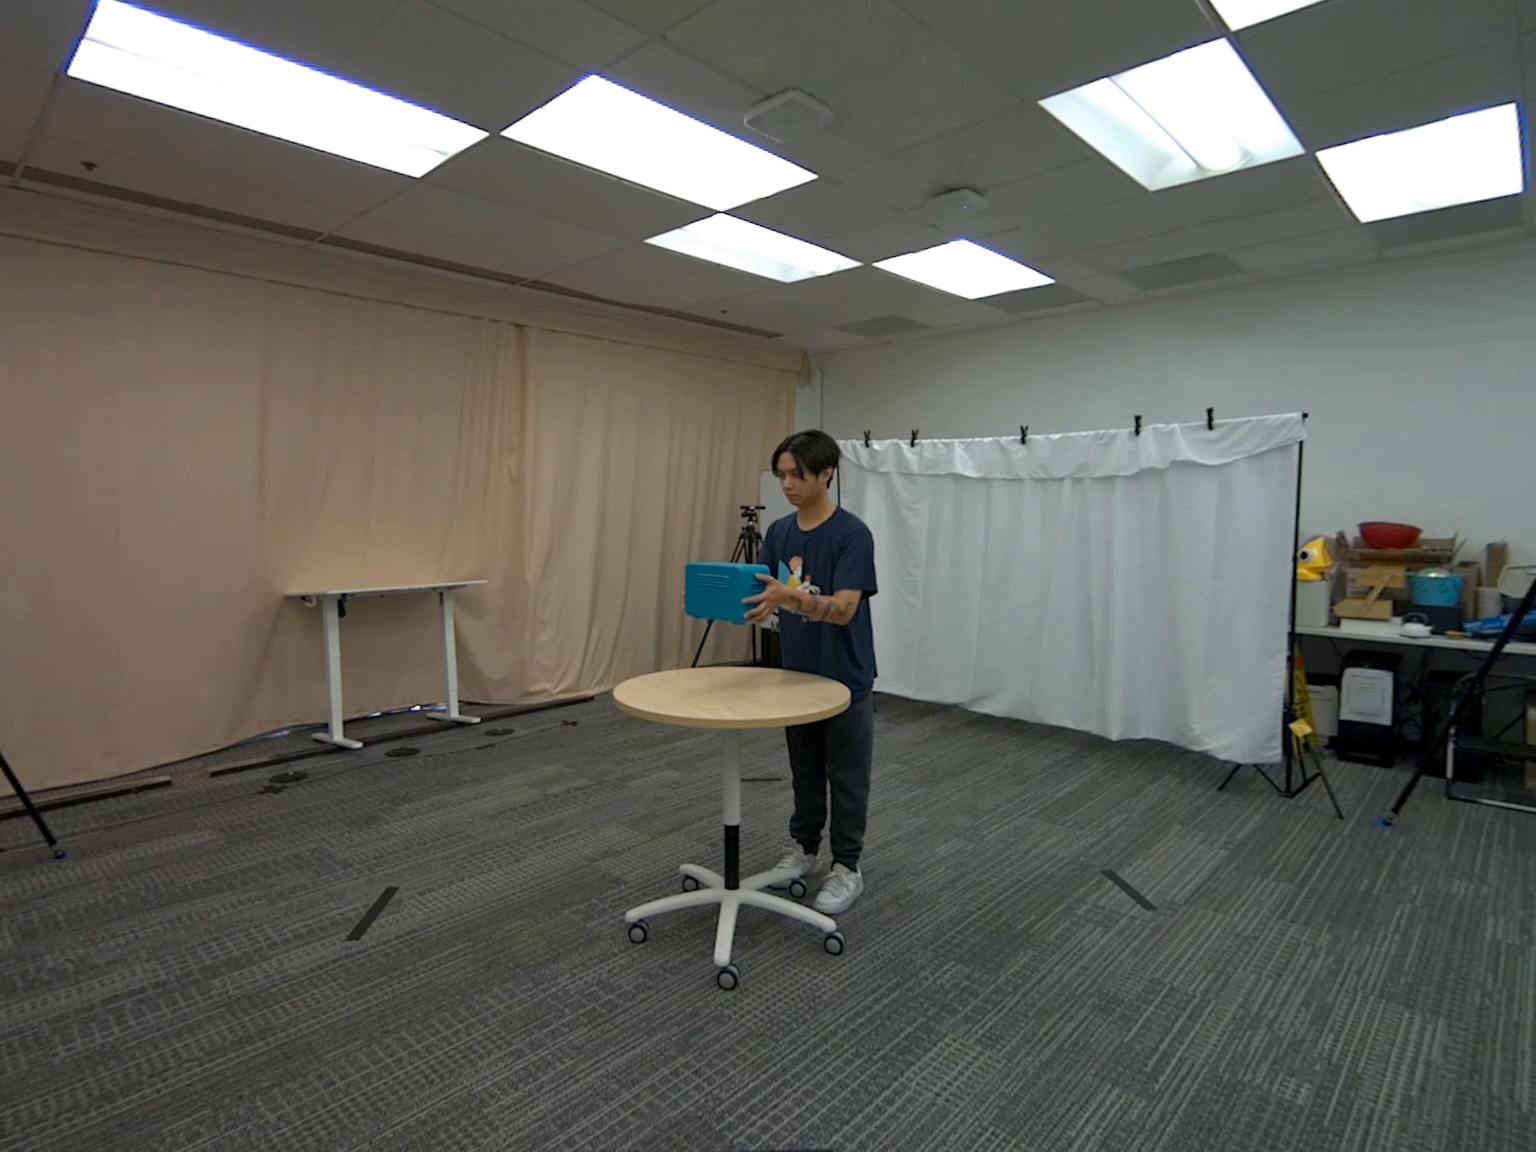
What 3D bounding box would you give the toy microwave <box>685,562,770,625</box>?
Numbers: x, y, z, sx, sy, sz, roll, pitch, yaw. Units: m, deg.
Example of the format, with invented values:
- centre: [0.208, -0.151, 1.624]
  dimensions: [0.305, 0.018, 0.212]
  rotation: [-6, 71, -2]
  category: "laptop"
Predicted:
- centre: [-0.122, 0.052, 2.698]
  dimensions: [0.147, 0.184, 0.296]
  rotation: [-2, 5, -44]
  category: "toy microwave"
